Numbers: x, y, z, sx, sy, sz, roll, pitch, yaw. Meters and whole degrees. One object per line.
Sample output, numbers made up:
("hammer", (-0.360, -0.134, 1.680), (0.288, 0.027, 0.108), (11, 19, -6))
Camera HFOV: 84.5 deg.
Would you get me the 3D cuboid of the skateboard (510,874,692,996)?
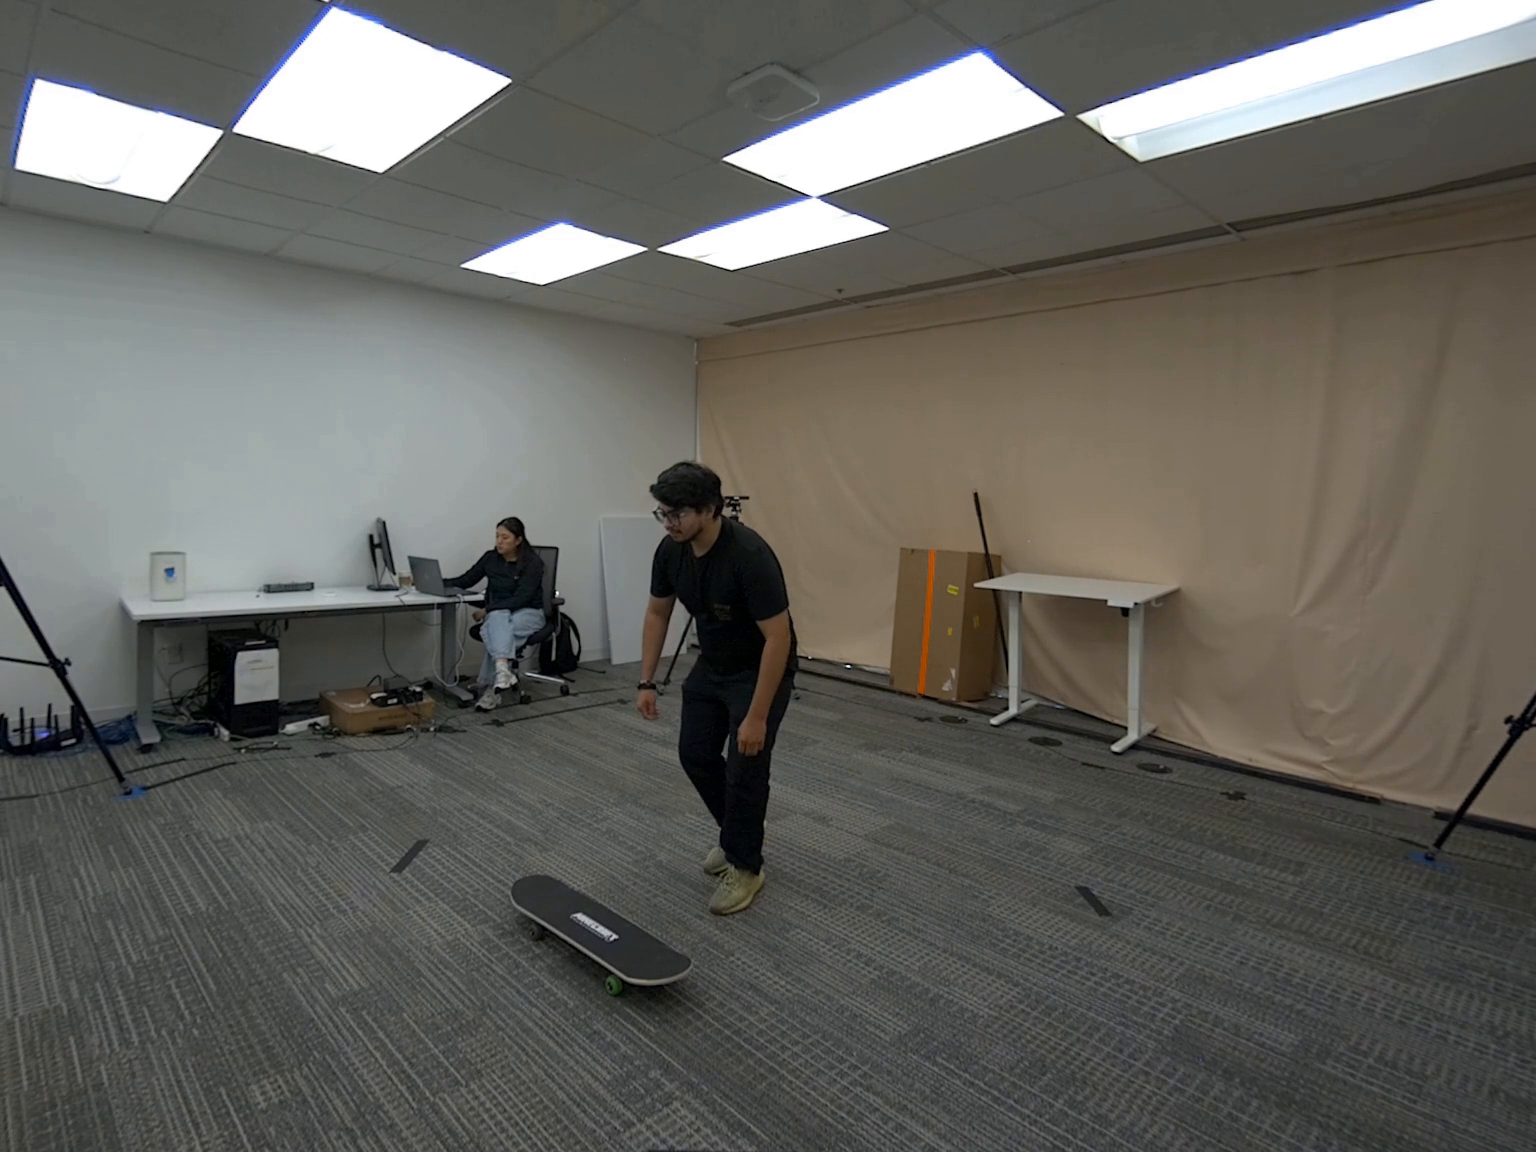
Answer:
("skateboard", (-0.534, 1.097, 2.535), (0.806, 0.110, 0.189), (6, 7, 43))
